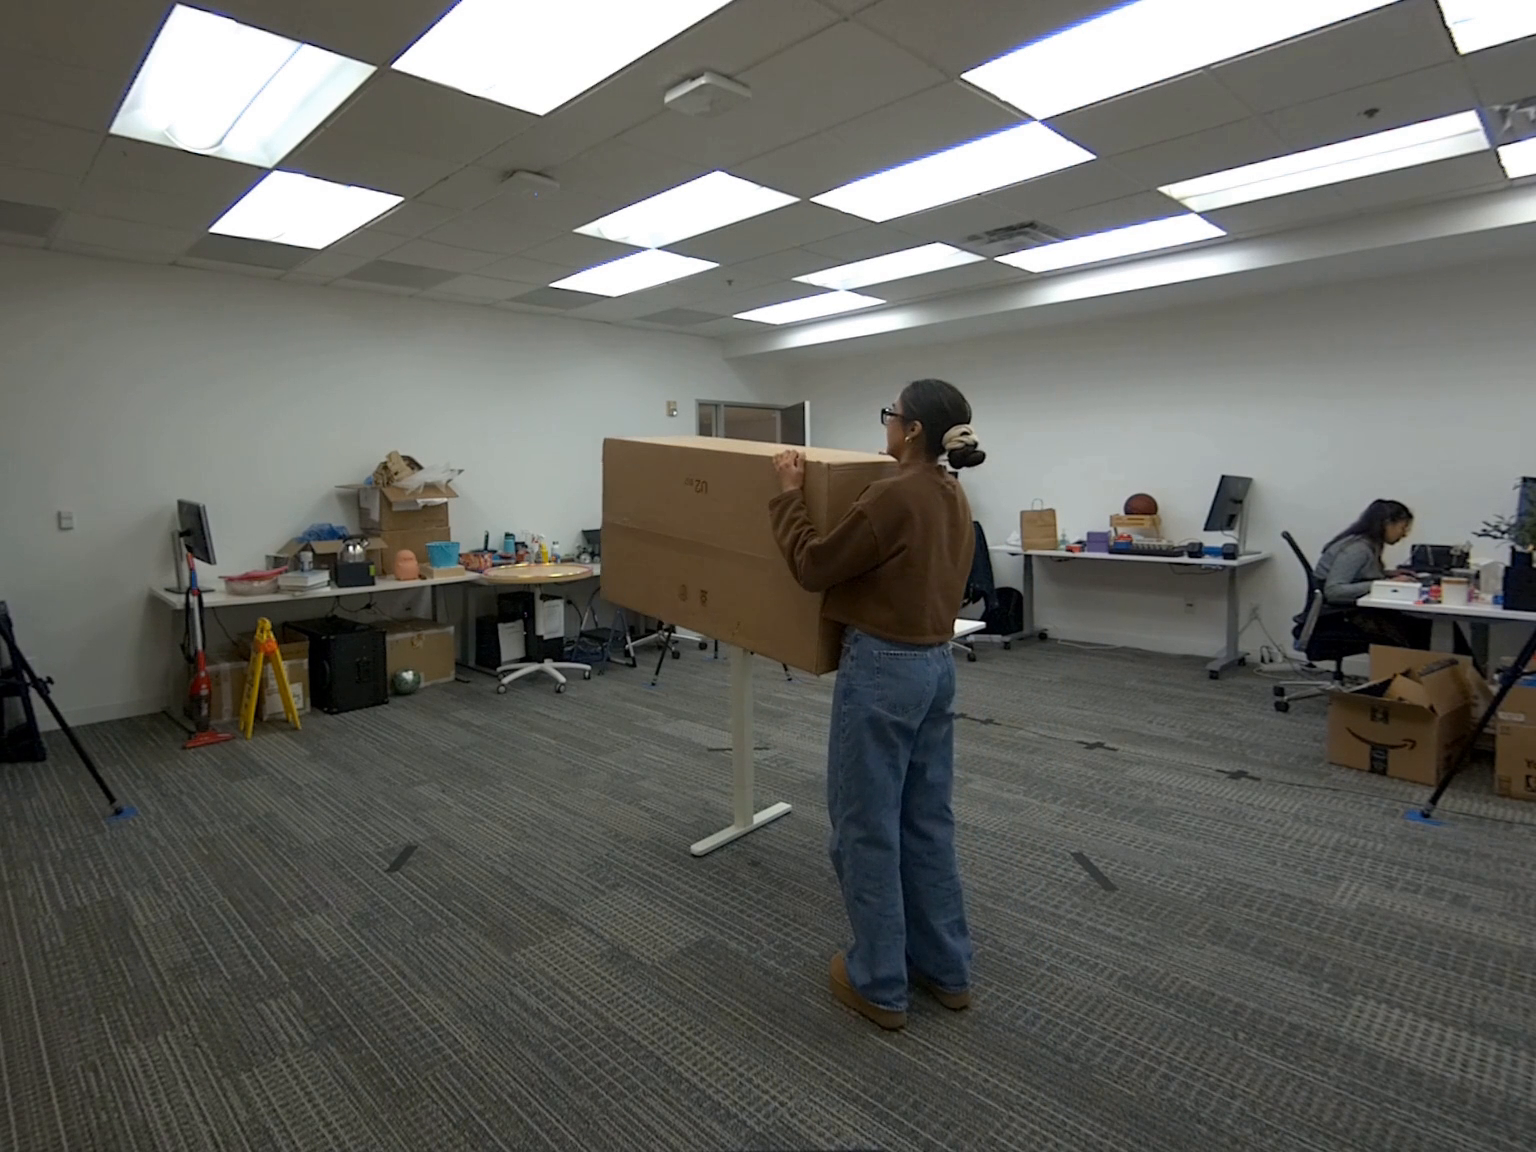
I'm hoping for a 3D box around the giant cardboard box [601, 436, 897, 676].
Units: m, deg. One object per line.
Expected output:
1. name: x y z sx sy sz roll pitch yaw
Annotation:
1. giant cardboard box: -0.073 -0.125 2.750 0.415 0.572 1.062 -8 15 -42
